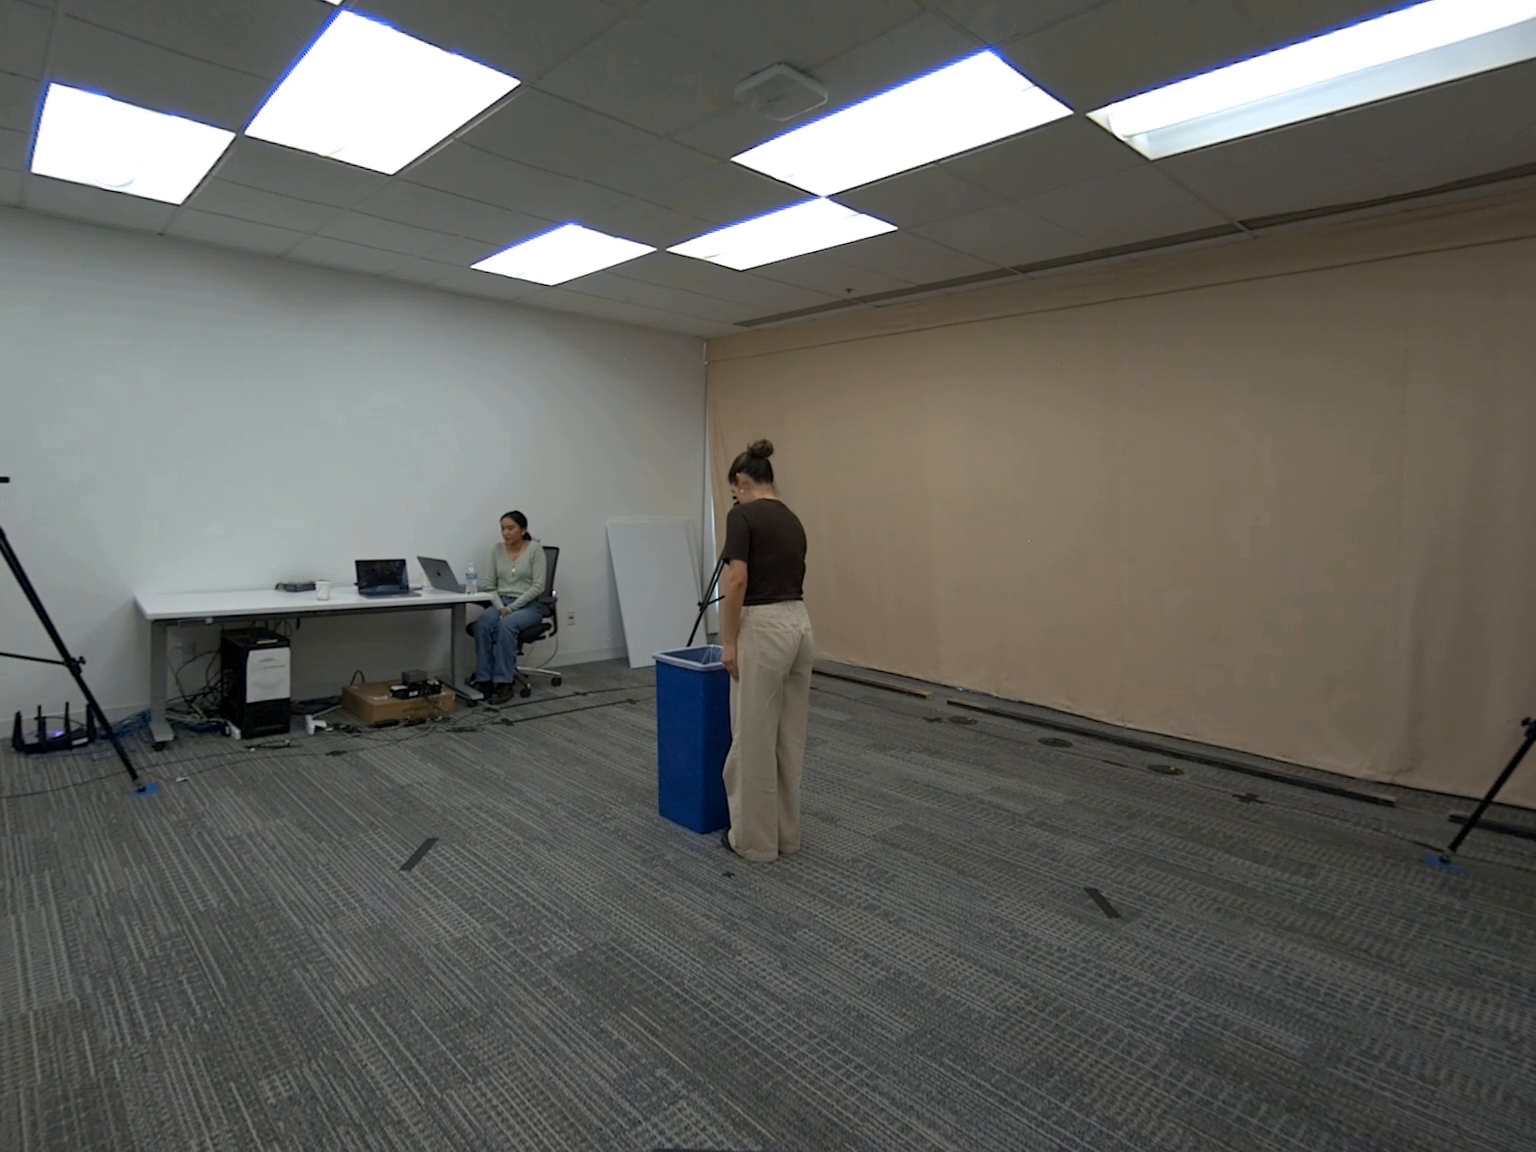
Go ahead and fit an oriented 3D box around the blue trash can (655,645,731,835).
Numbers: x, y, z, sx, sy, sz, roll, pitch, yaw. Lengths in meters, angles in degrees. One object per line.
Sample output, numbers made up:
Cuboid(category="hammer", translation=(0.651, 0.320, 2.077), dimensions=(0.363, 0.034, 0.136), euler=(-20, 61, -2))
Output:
Cuboid(category="blue trash can", translation=(-0.281, 0.693, 3.663), dimensions=(0.369, 0.712, 0.384), euler=(-2, 5, -44))
